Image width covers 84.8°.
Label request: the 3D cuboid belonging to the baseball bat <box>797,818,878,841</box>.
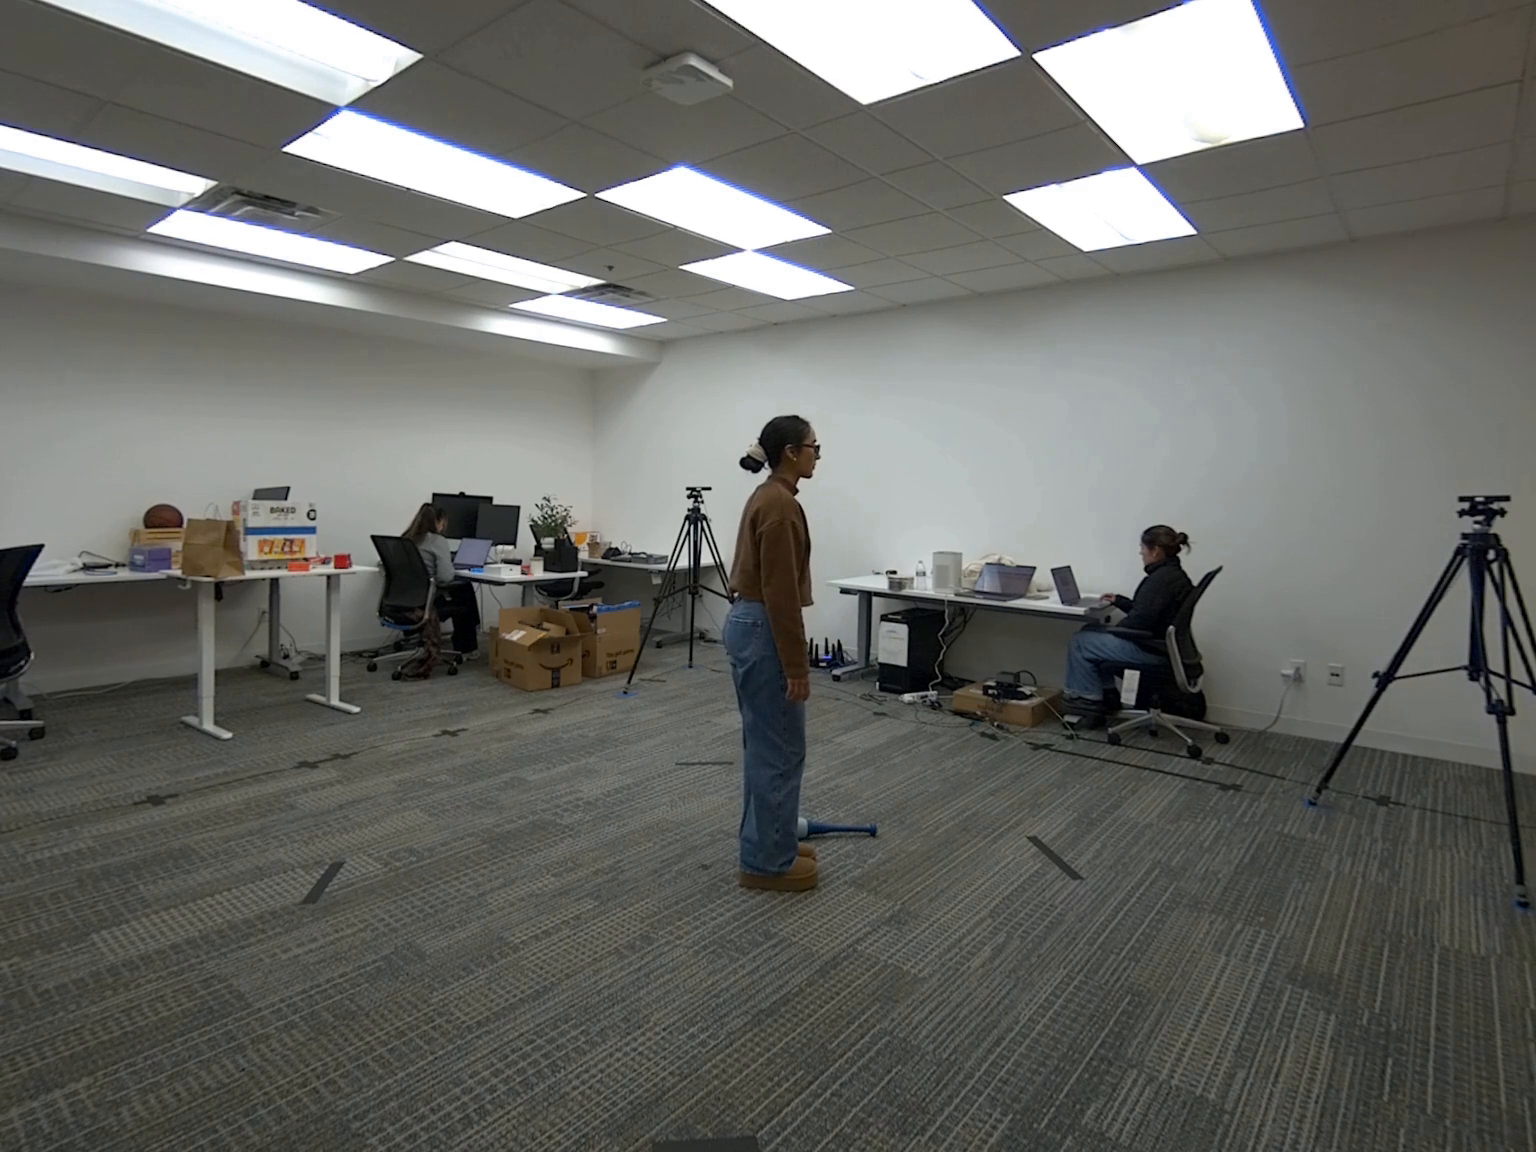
[{"bbox_3d":[0.166,1.008,3.406,0.539,0.089,0.090,3,4,-7],"label":"baseball bat"}]
